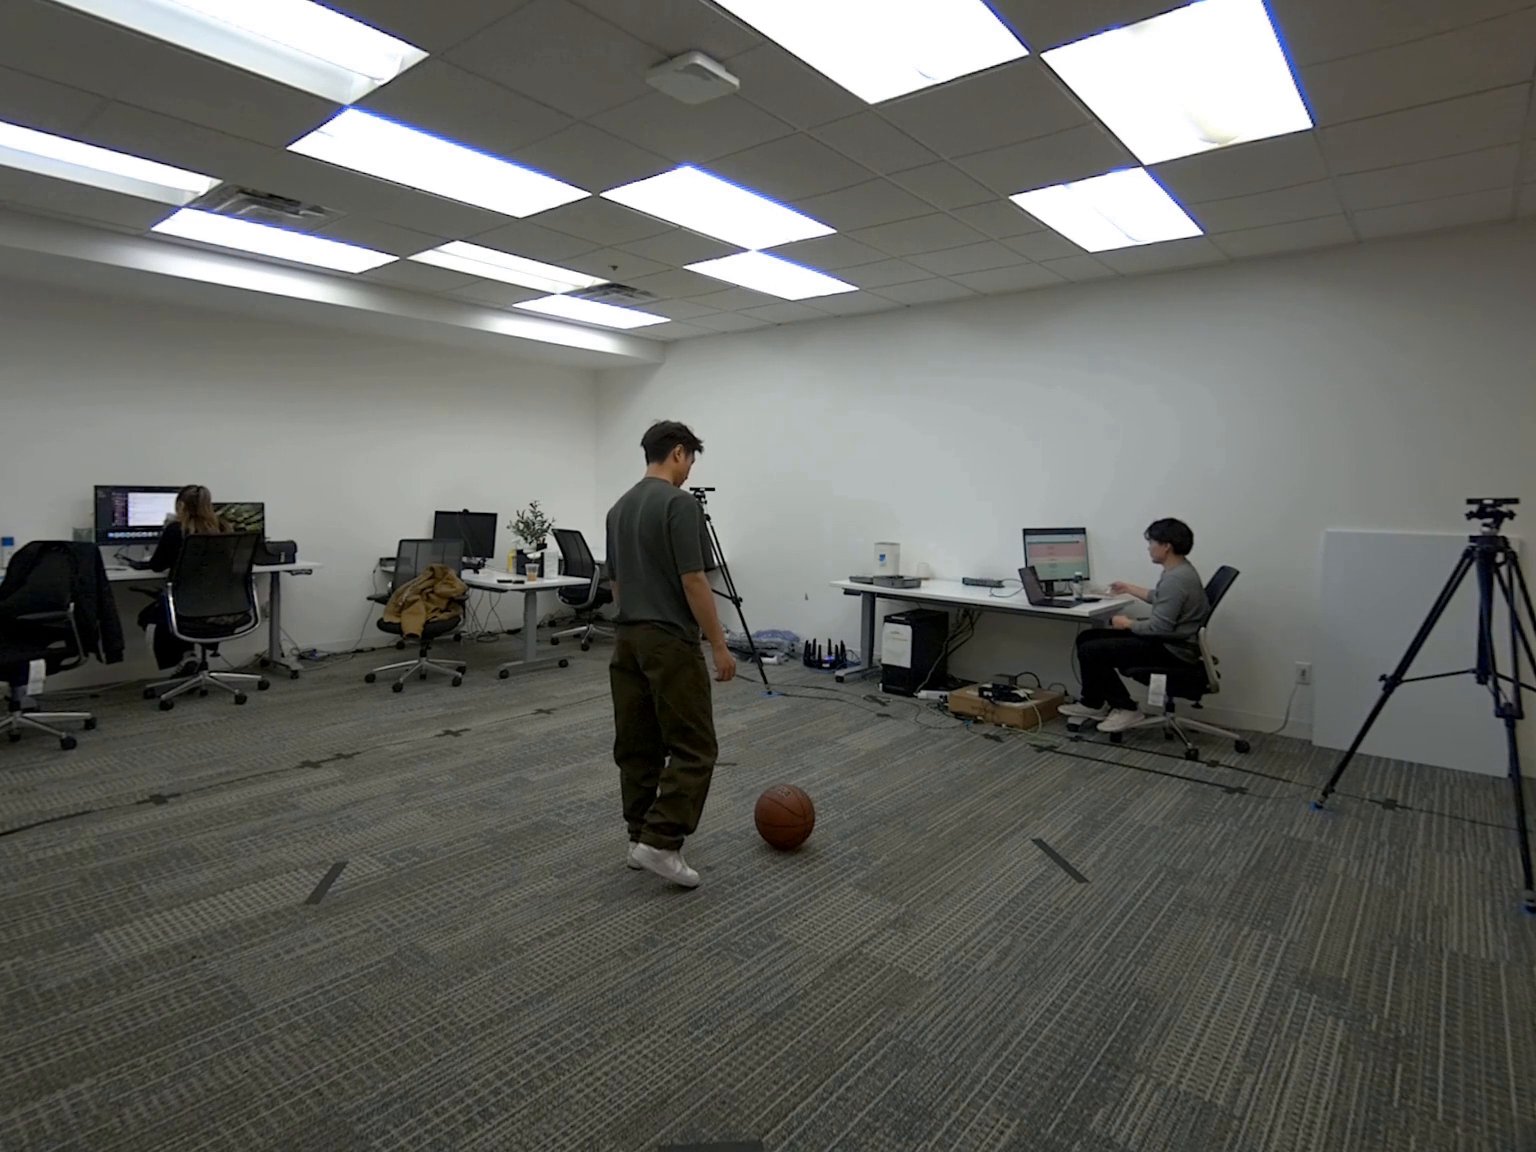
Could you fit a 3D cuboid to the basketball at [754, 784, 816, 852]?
[{"bbox_3d":[0.055,0.929,3.315,0.235,0.235,0.237,1,4,-2],"label":"basketball"}]
